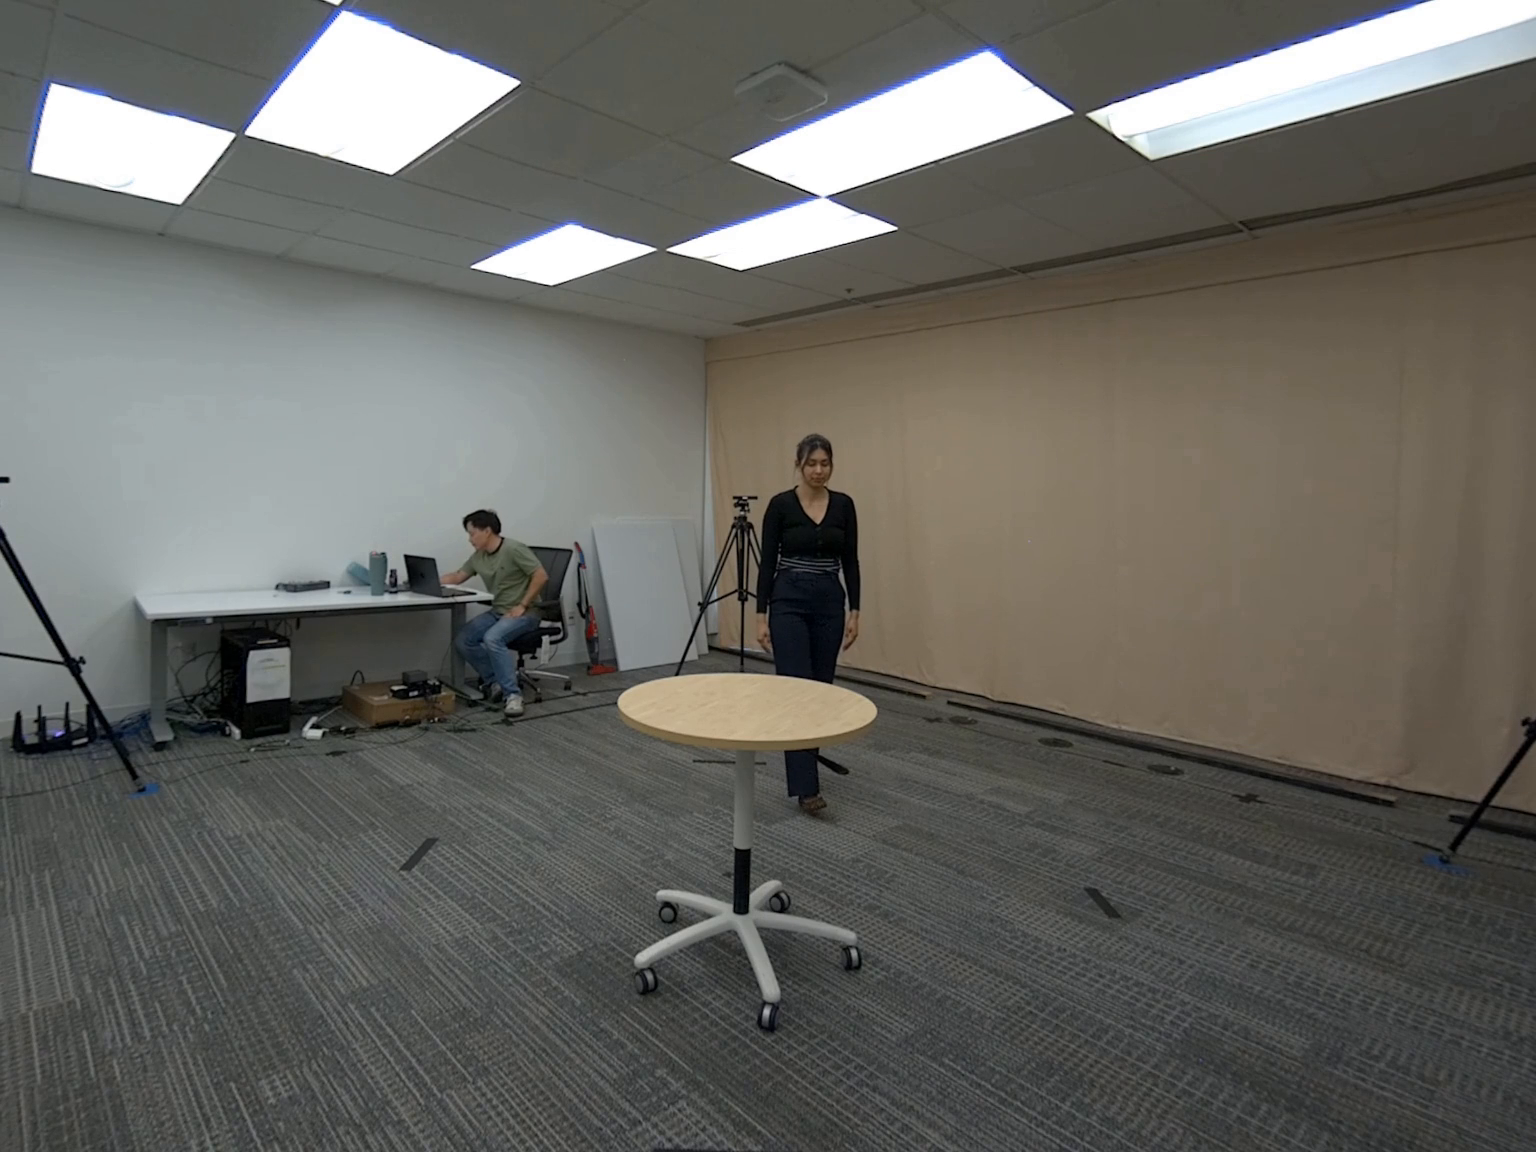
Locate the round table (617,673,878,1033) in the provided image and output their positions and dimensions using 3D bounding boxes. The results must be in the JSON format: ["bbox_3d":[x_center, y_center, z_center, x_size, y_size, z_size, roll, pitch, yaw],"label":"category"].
[{"bbox_3d":[-0.084,0.770,2.528,0.763,0.792,0.767,2,4,-1],"label":"round table"}]
